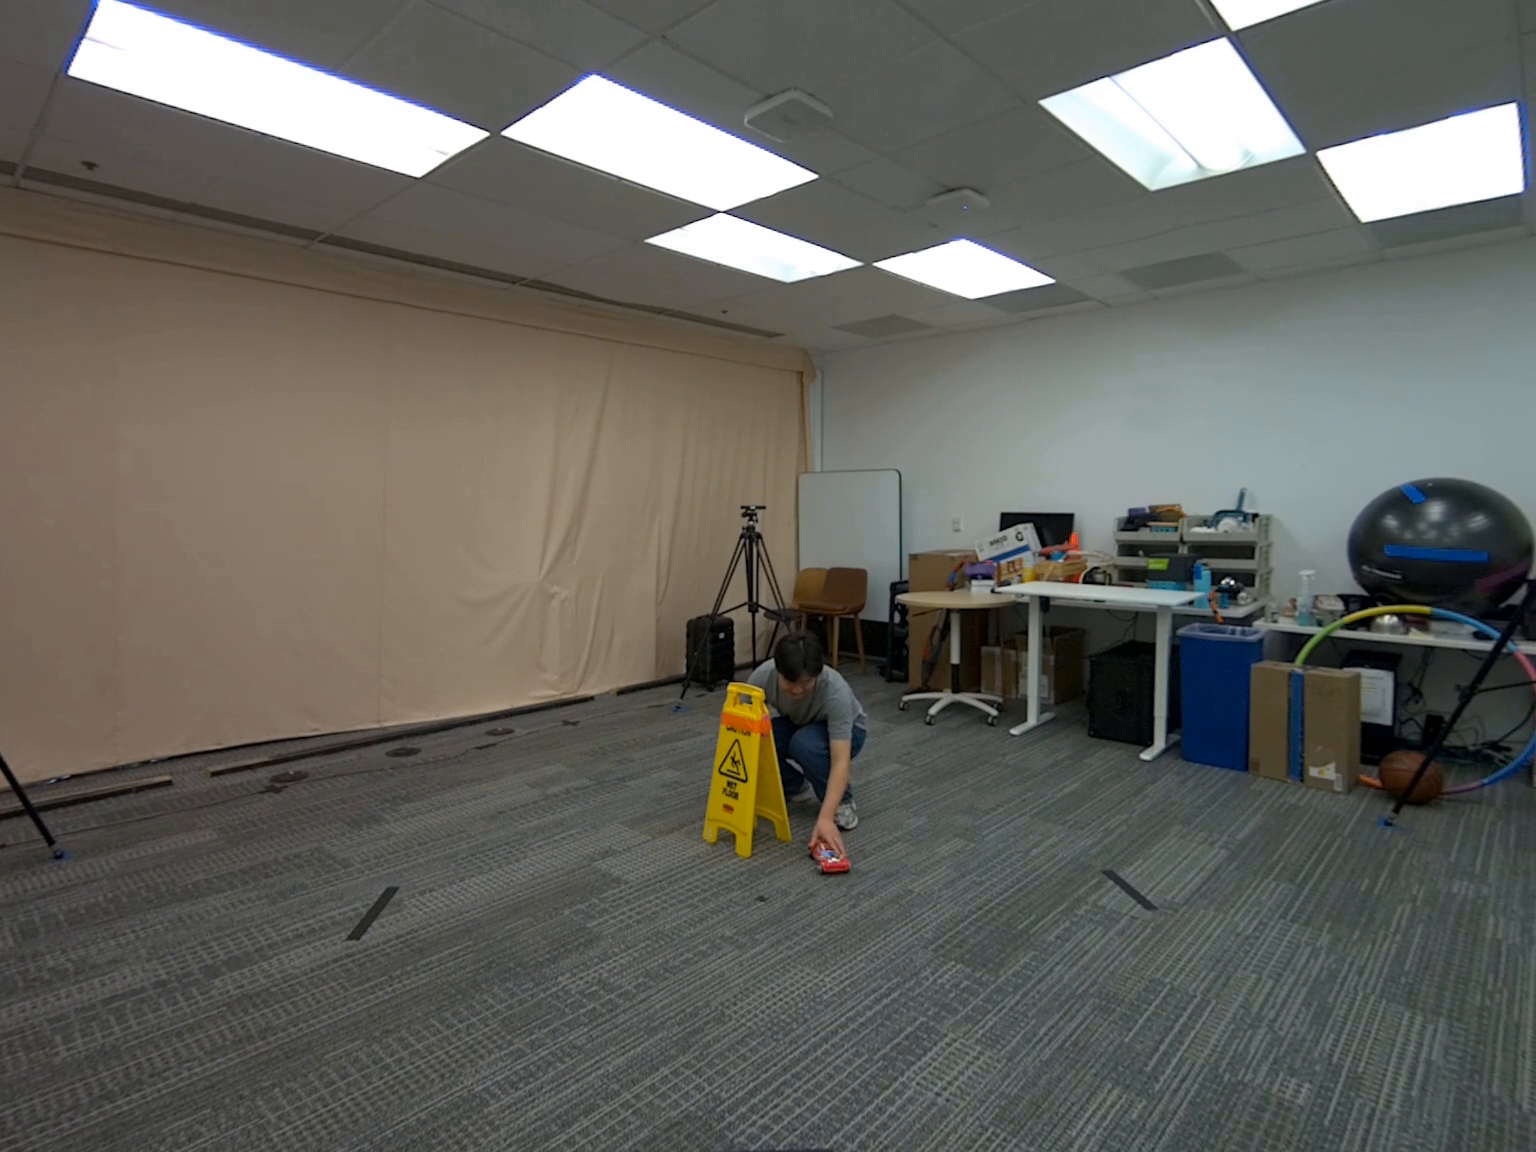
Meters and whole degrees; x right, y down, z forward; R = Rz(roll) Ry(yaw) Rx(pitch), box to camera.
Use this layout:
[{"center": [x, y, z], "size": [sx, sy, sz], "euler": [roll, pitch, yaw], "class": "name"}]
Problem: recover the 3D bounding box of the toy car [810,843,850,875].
[{"center": [0.228, 1.087, 3.282], "size": [0.129, 0.082, 0.259], "euler": [-1, 15, -8], "class": "toy car"}]
